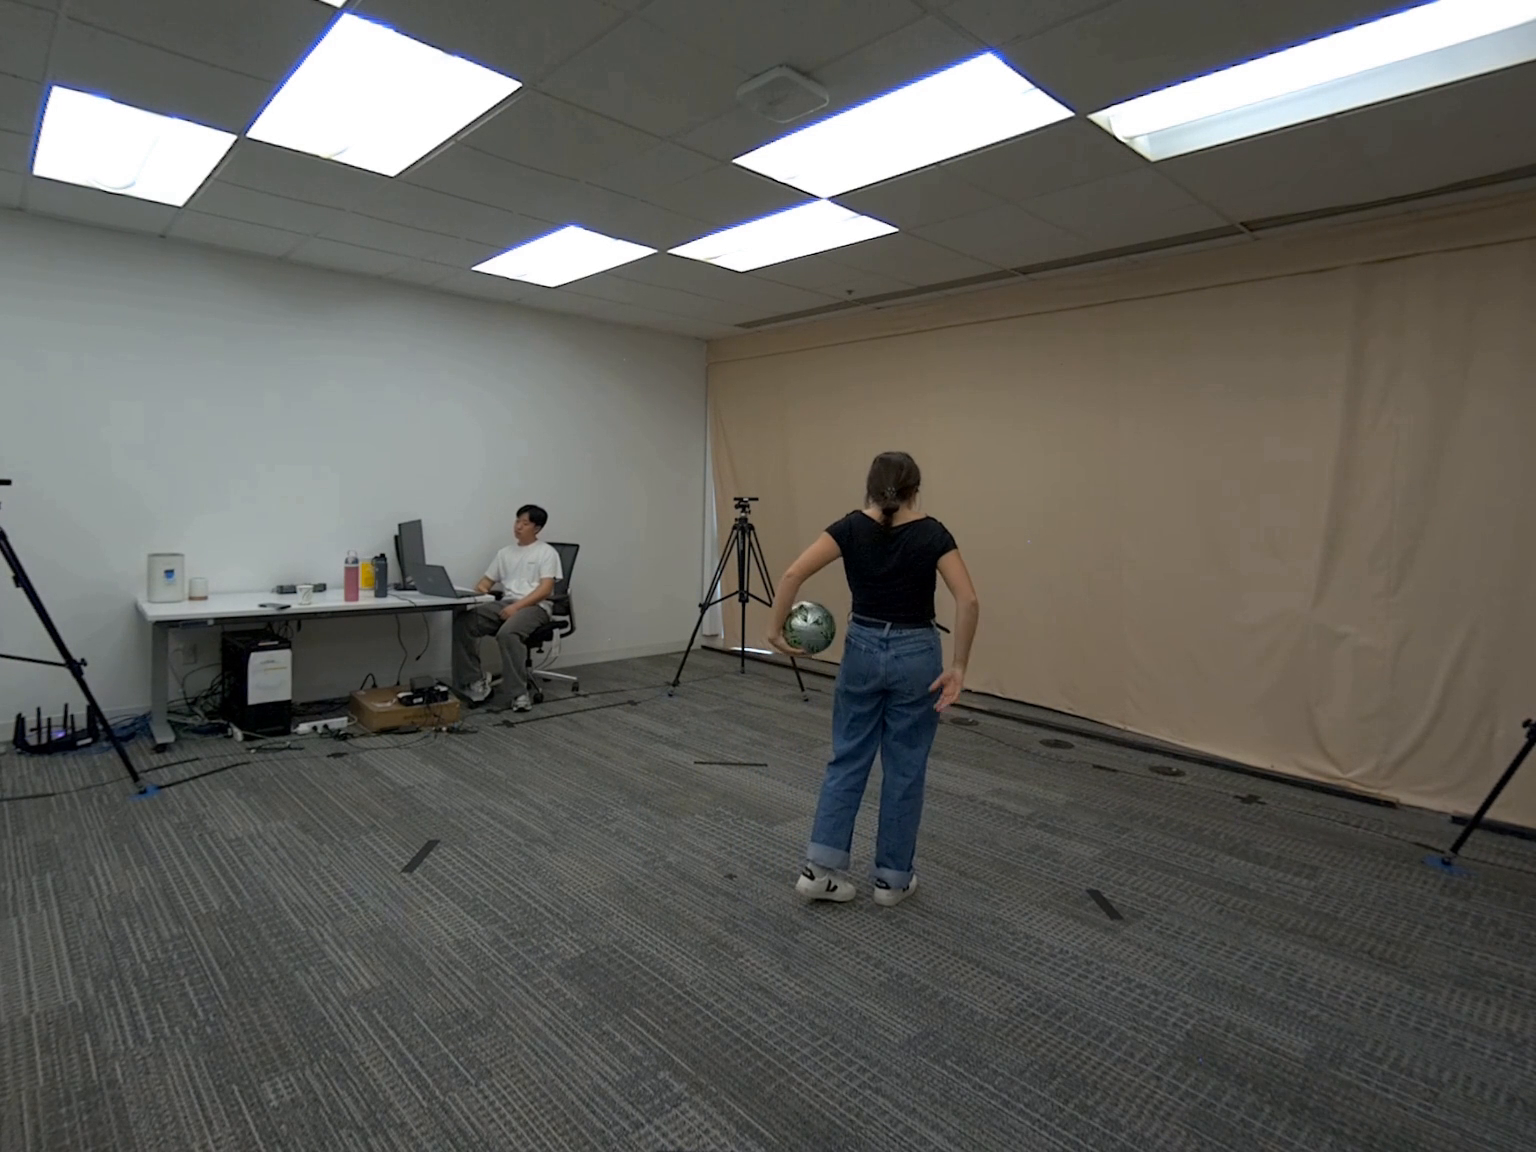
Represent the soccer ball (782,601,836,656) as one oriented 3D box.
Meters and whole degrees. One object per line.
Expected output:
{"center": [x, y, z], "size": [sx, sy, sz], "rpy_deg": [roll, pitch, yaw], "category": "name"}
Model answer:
{"center": [0.149, 0.173, 2.920], "size": [0.187, 0.187, 0.188], "rpy_deg": [1, 4, -1], "category": "soccer ball"}
